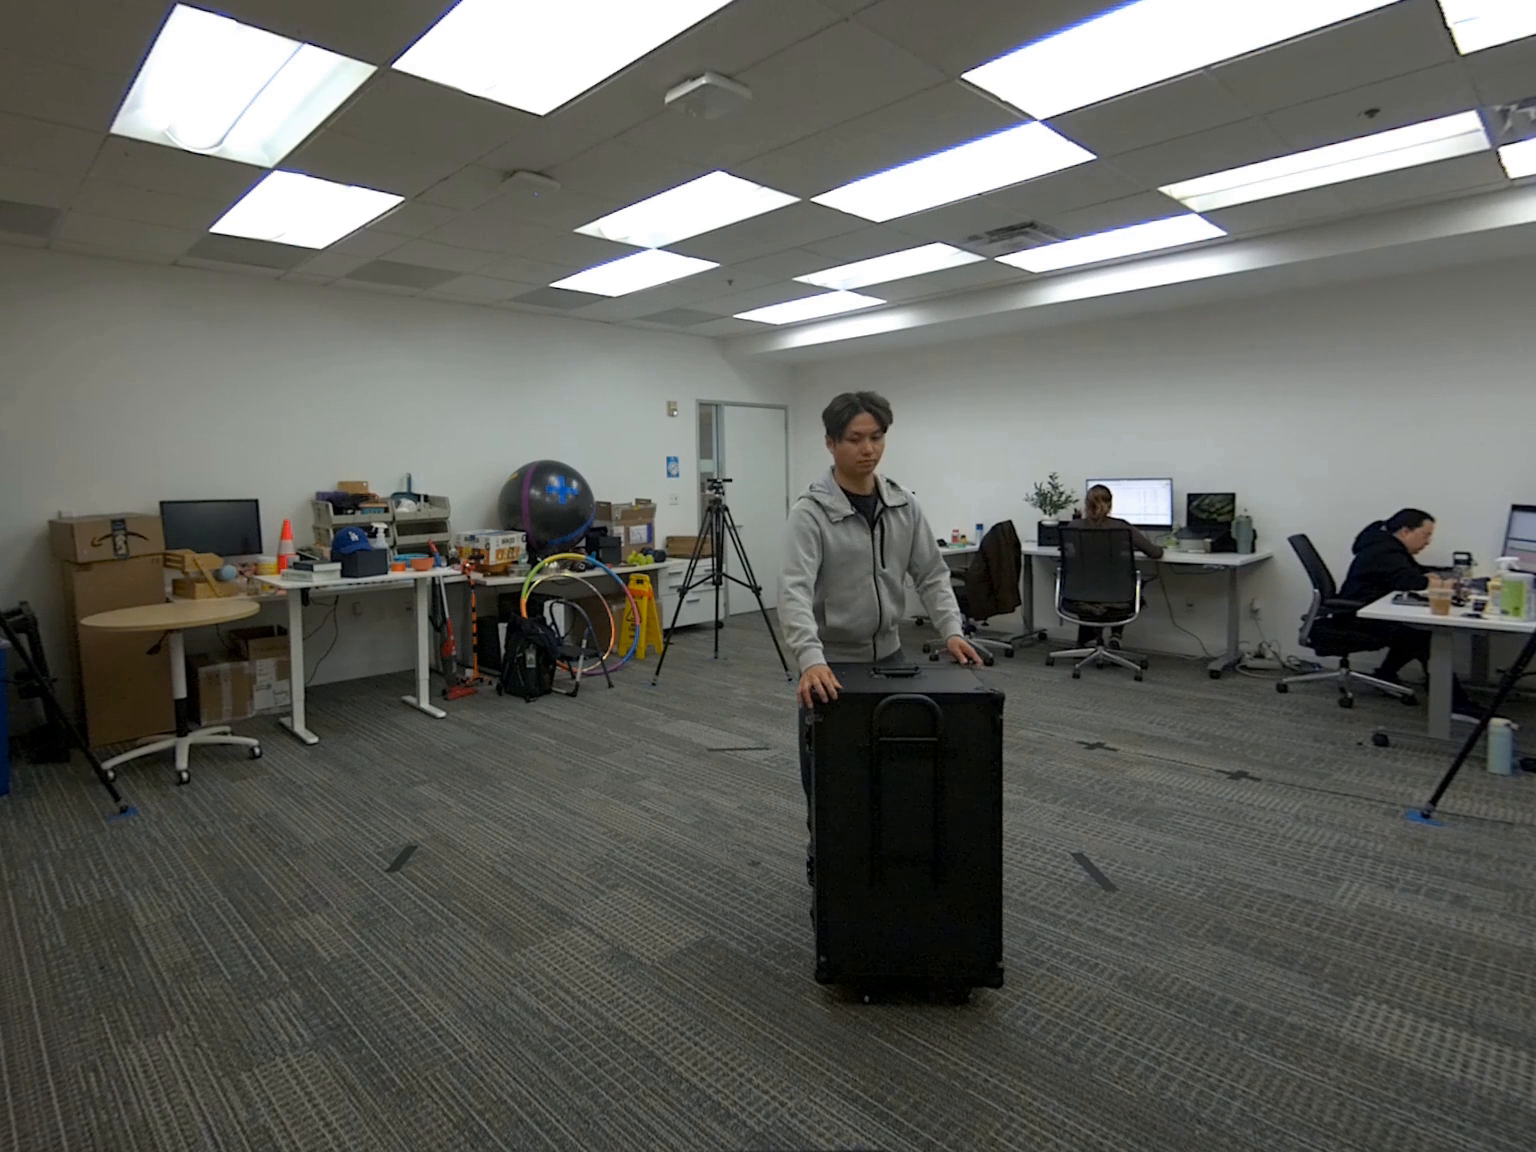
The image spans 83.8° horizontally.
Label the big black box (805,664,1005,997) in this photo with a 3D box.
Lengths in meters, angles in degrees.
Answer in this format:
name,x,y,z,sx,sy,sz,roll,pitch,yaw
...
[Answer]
name,x,y,z,sx,sy,sz,roll,pitch,yaw
big black box,0.373,0.702,2.362,0.523,0.859,0.396,-2,3,4
